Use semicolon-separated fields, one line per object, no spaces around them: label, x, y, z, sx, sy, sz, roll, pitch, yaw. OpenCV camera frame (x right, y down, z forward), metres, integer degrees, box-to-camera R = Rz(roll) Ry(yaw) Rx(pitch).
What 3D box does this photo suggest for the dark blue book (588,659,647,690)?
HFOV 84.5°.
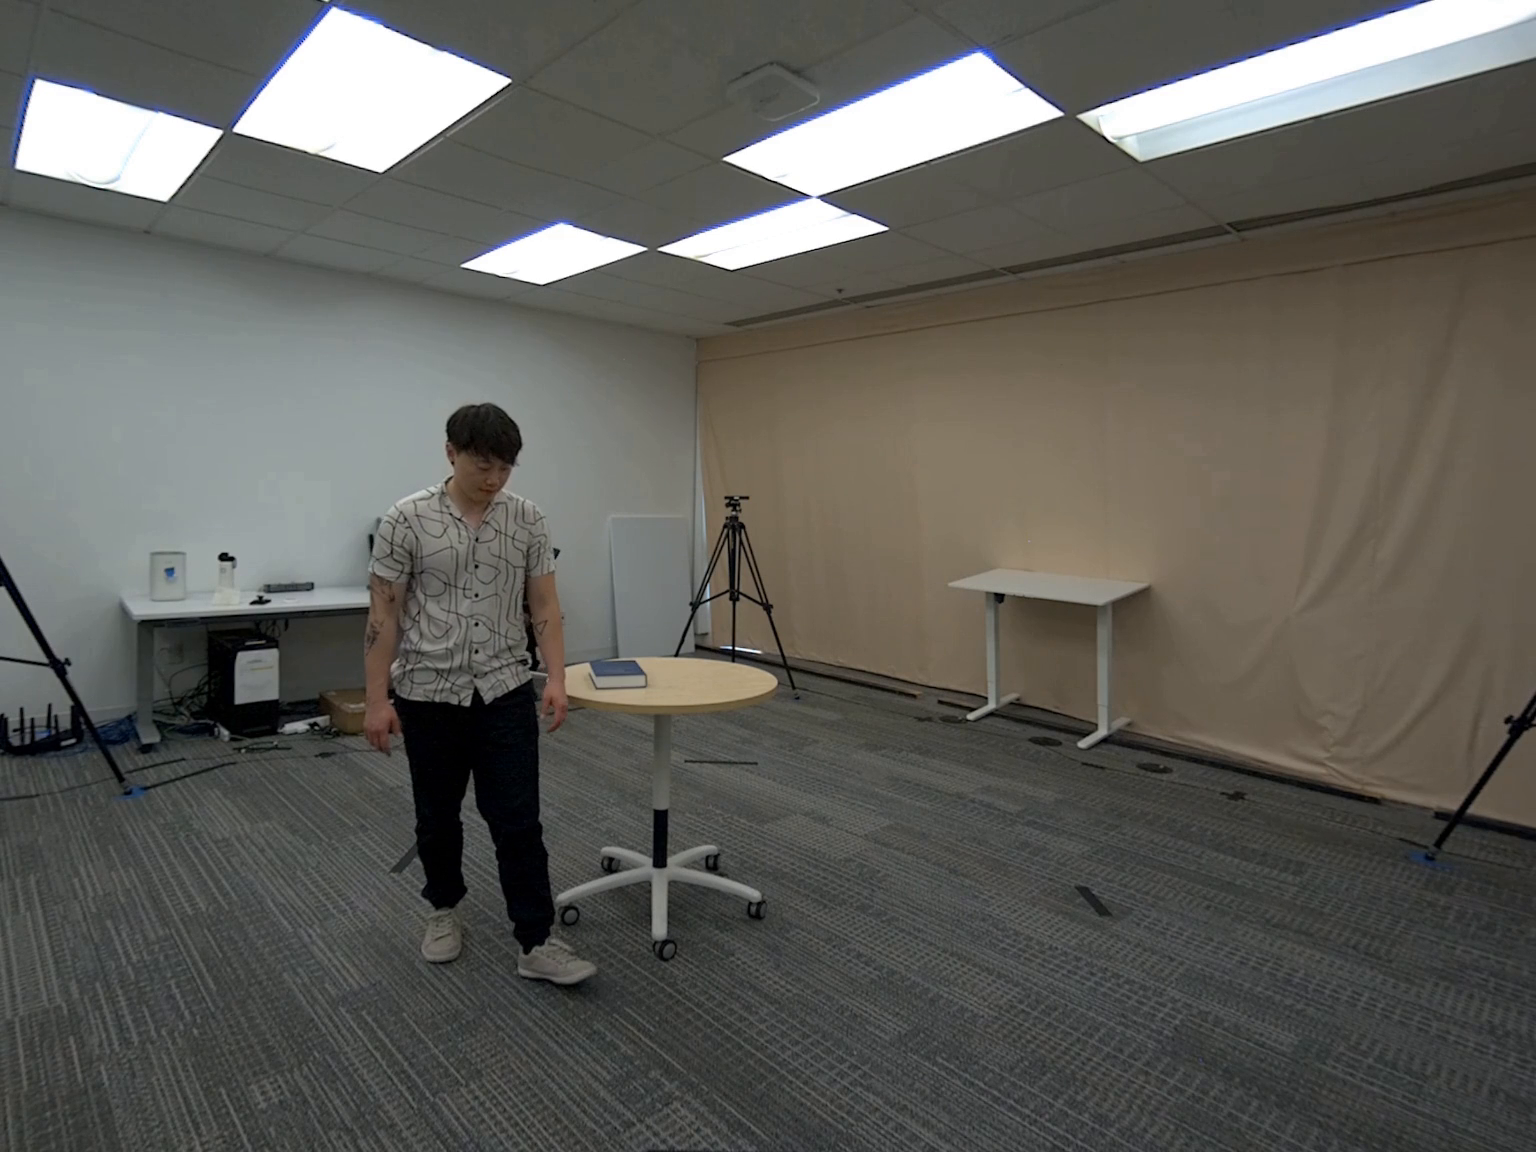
dark blue book;-0.506;0.325;2.761;0.161;0.045;0.249;0;5;-17
